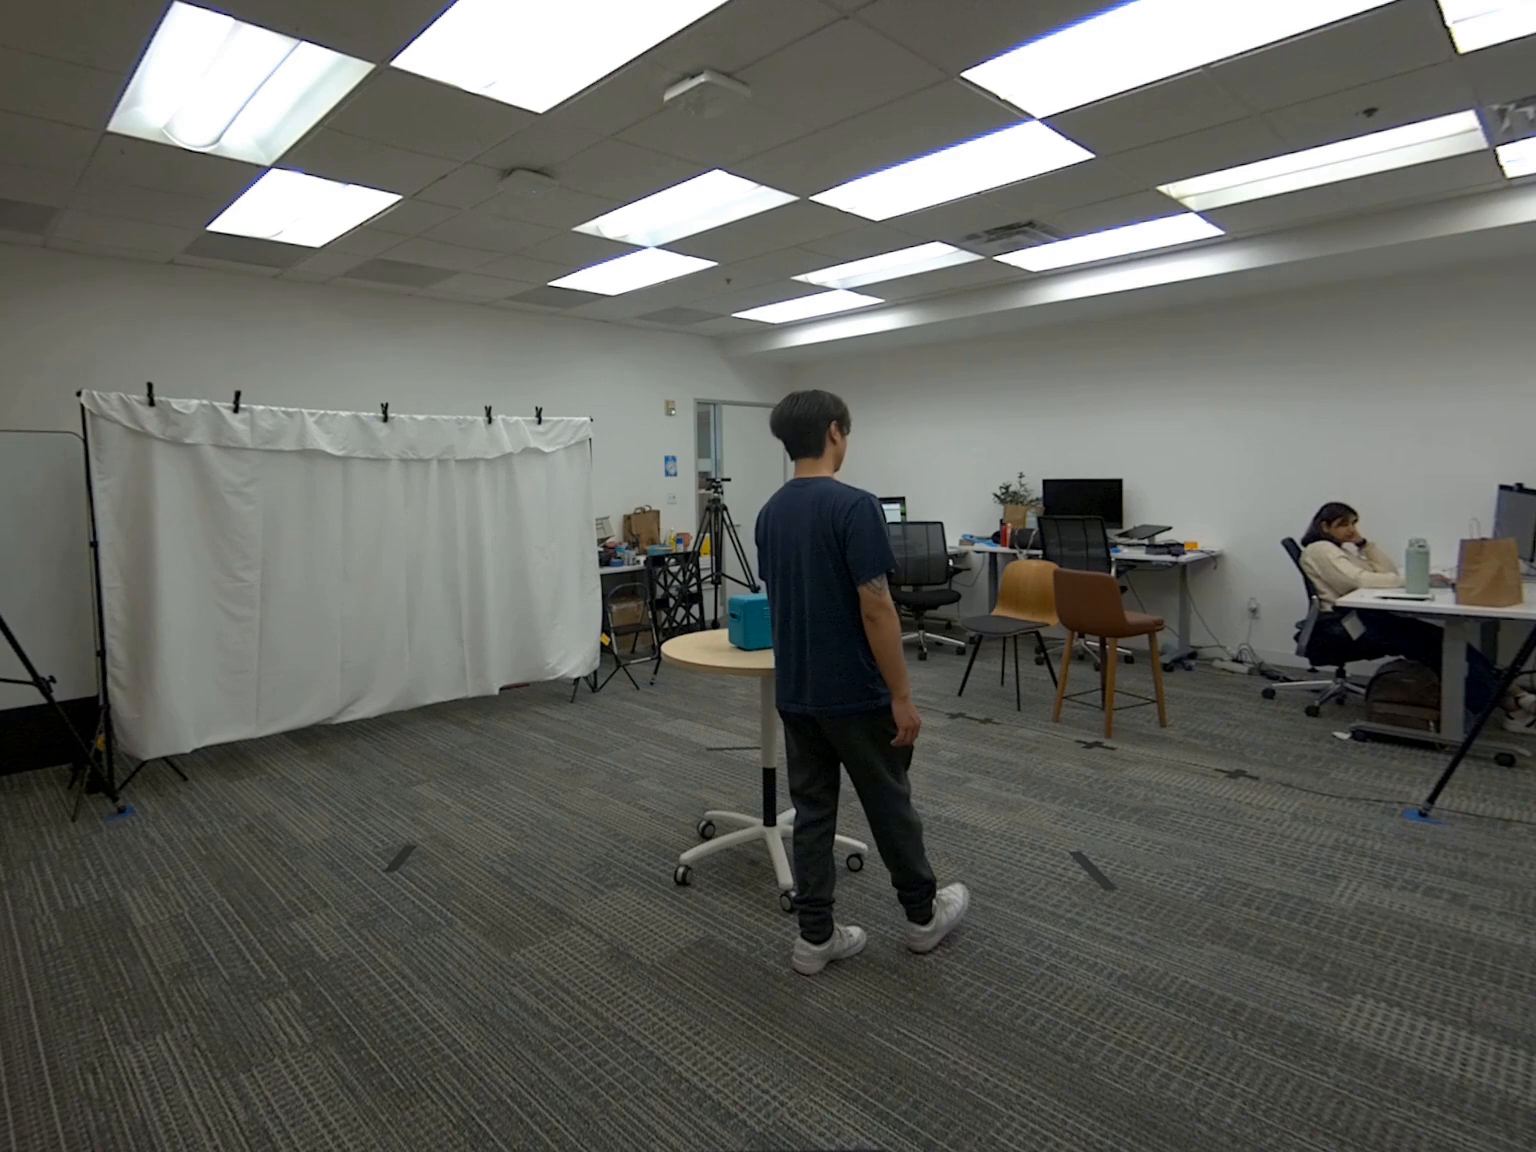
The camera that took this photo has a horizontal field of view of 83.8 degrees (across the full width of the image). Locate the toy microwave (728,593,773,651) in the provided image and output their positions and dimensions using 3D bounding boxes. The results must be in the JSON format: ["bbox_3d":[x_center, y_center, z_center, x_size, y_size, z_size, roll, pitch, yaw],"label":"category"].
[{"bbox_3d":[0.002,0.154,3.058,0.280,0.183,0.156,-3,4,-28],"label":"toy microwave"}]
